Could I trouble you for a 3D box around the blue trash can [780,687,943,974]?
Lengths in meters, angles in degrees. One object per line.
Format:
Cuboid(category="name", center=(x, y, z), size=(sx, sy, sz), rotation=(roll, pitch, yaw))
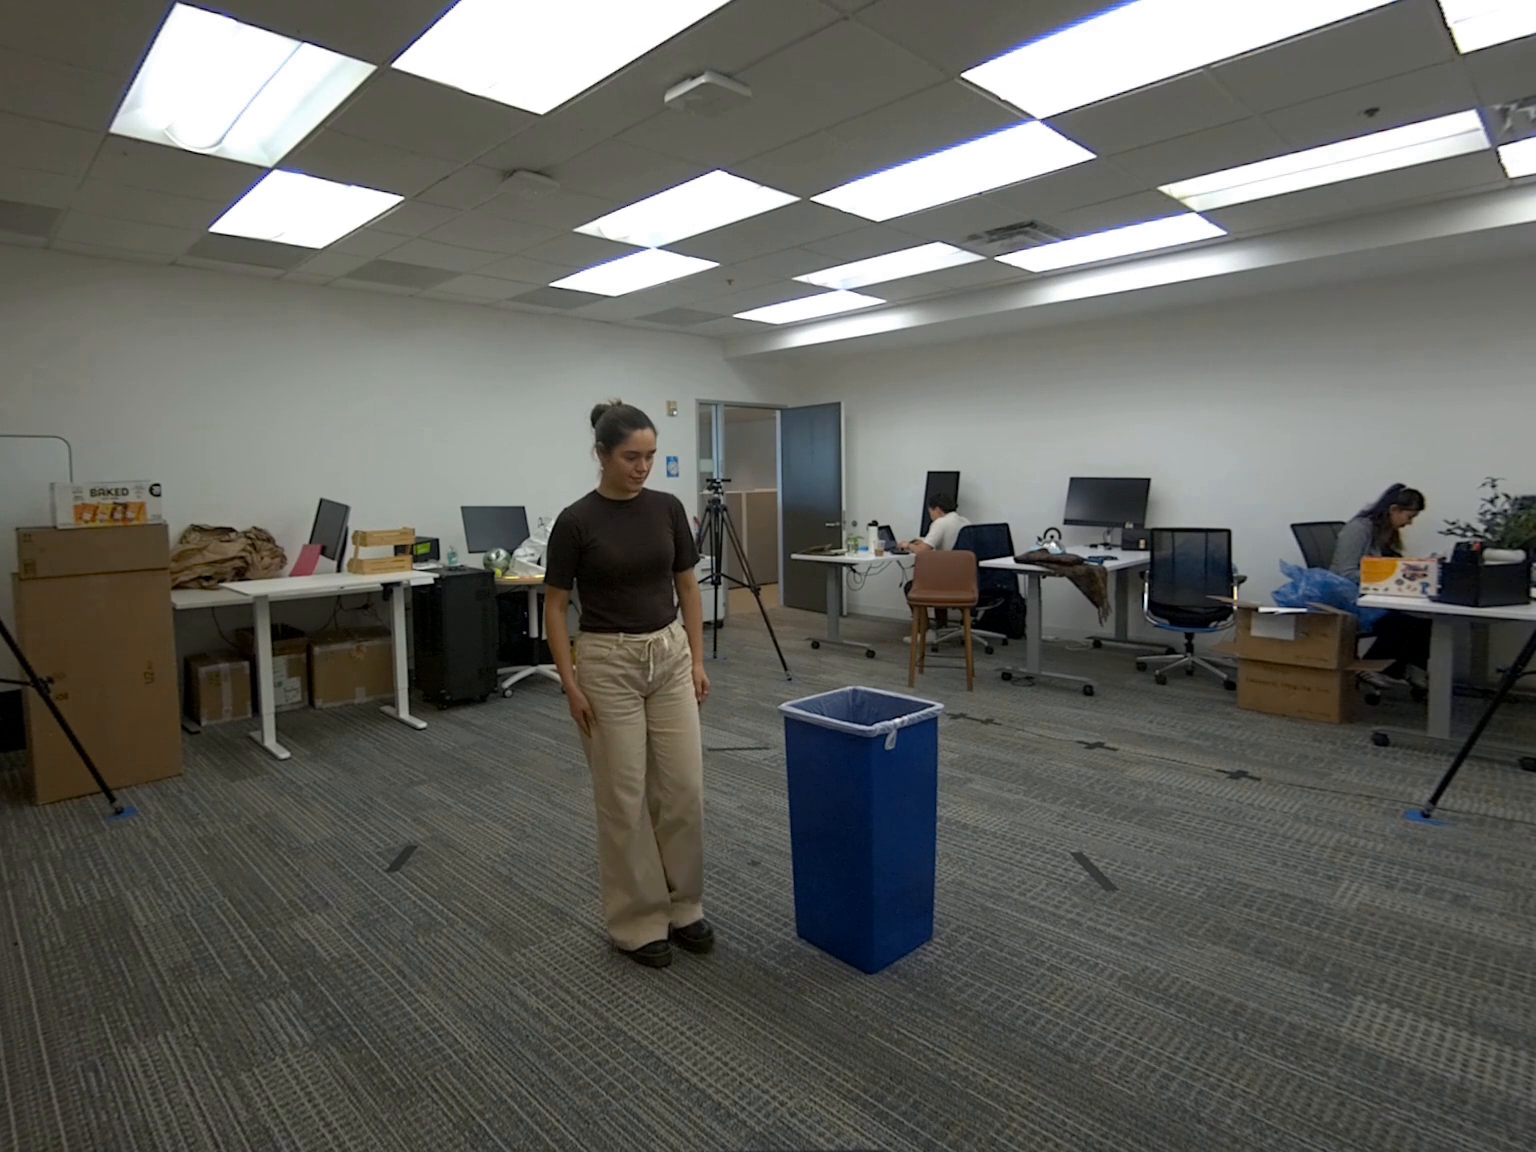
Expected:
Cuboid(category="blue trash can", center=(0.292, 0.739, 2.588), size=(0.364, 0.711, 0.389), rotation=(-5, 5, -42))
